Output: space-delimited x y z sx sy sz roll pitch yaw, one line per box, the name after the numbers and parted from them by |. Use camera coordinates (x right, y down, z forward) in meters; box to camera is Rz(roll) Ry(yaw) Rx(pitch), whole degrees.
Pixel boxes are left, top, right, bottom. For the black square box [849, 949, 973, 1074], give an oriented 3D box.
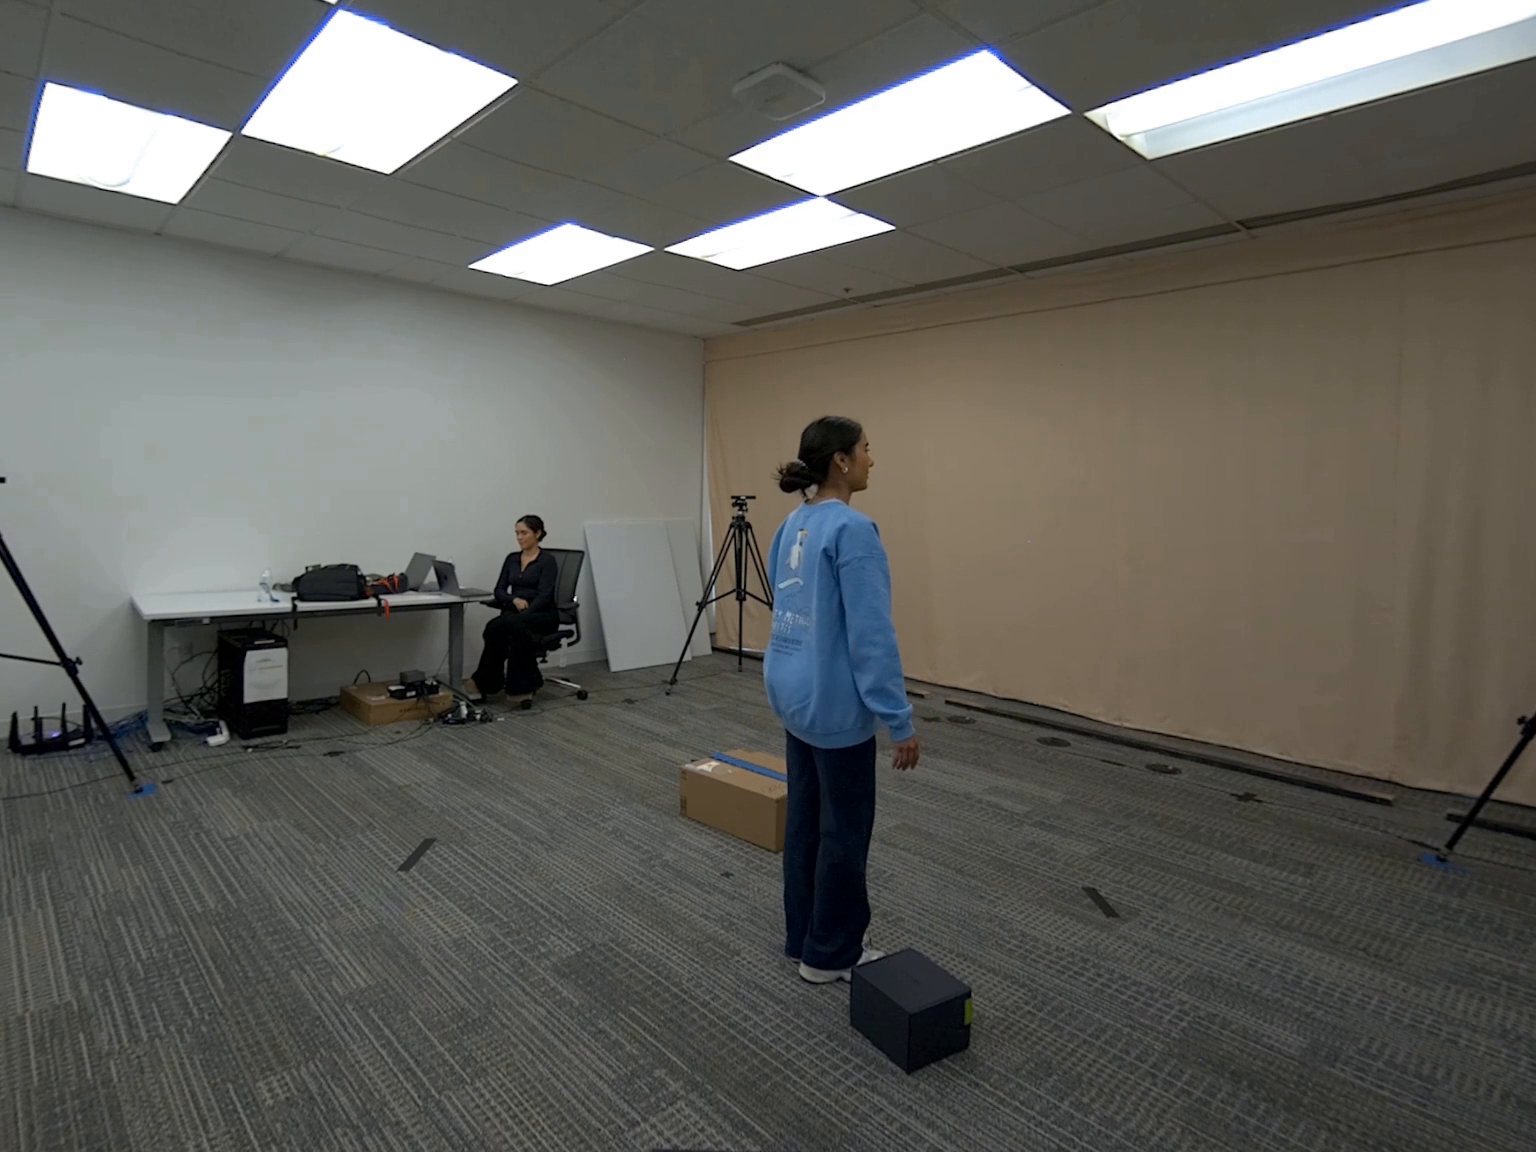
0.360 1.121 2.182 0.212 0.155 0.233 0 5 -33 | black square box
